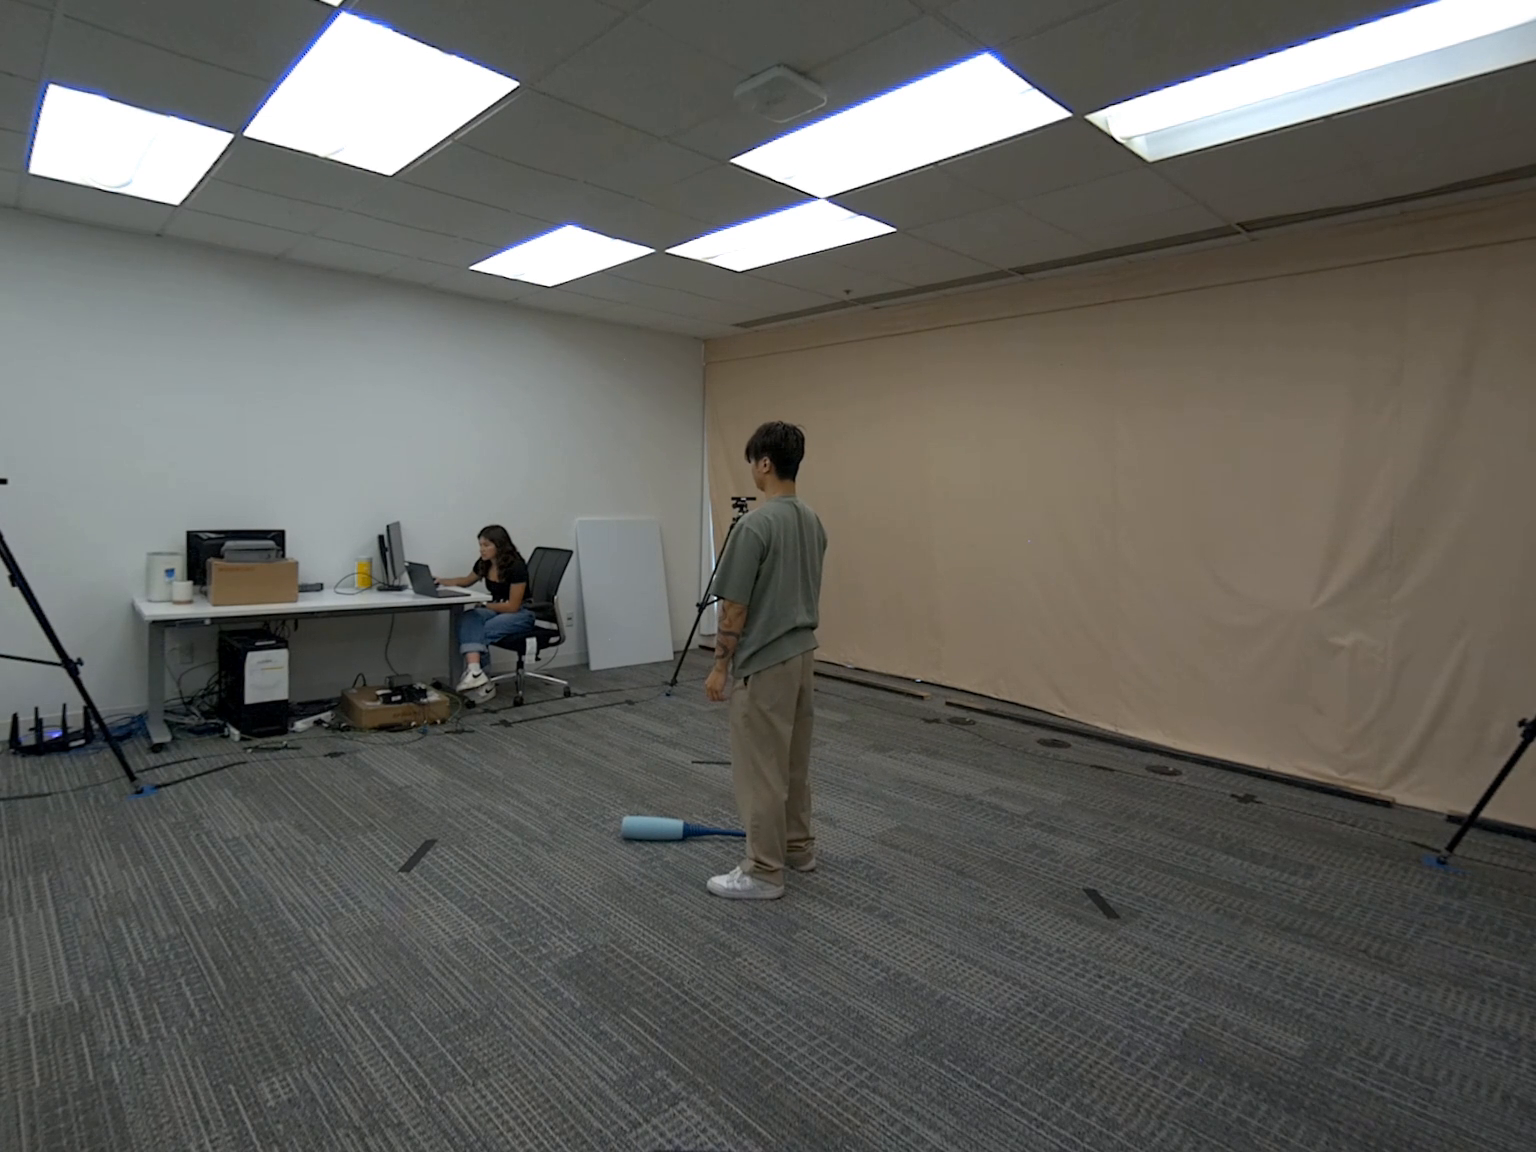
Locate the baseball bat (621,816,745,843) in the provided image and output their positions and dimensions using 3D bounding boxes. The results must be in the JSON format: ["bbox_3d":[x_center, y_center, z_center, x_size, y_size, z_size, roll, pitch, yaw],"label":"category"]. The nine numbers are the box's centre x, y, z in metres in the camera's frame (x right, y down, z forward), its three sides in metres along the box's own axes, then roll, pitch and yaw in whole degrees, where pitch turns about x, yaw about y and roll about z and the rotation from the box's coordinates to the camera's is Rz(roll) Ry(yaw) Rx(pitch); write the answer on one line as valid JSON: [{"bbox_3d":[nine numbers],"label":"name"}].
[{"bbox_3d":[-0.333,1.036,3.425,0.542,0.089,0.089,3,4,-1],"label":"baseball bat"}]
